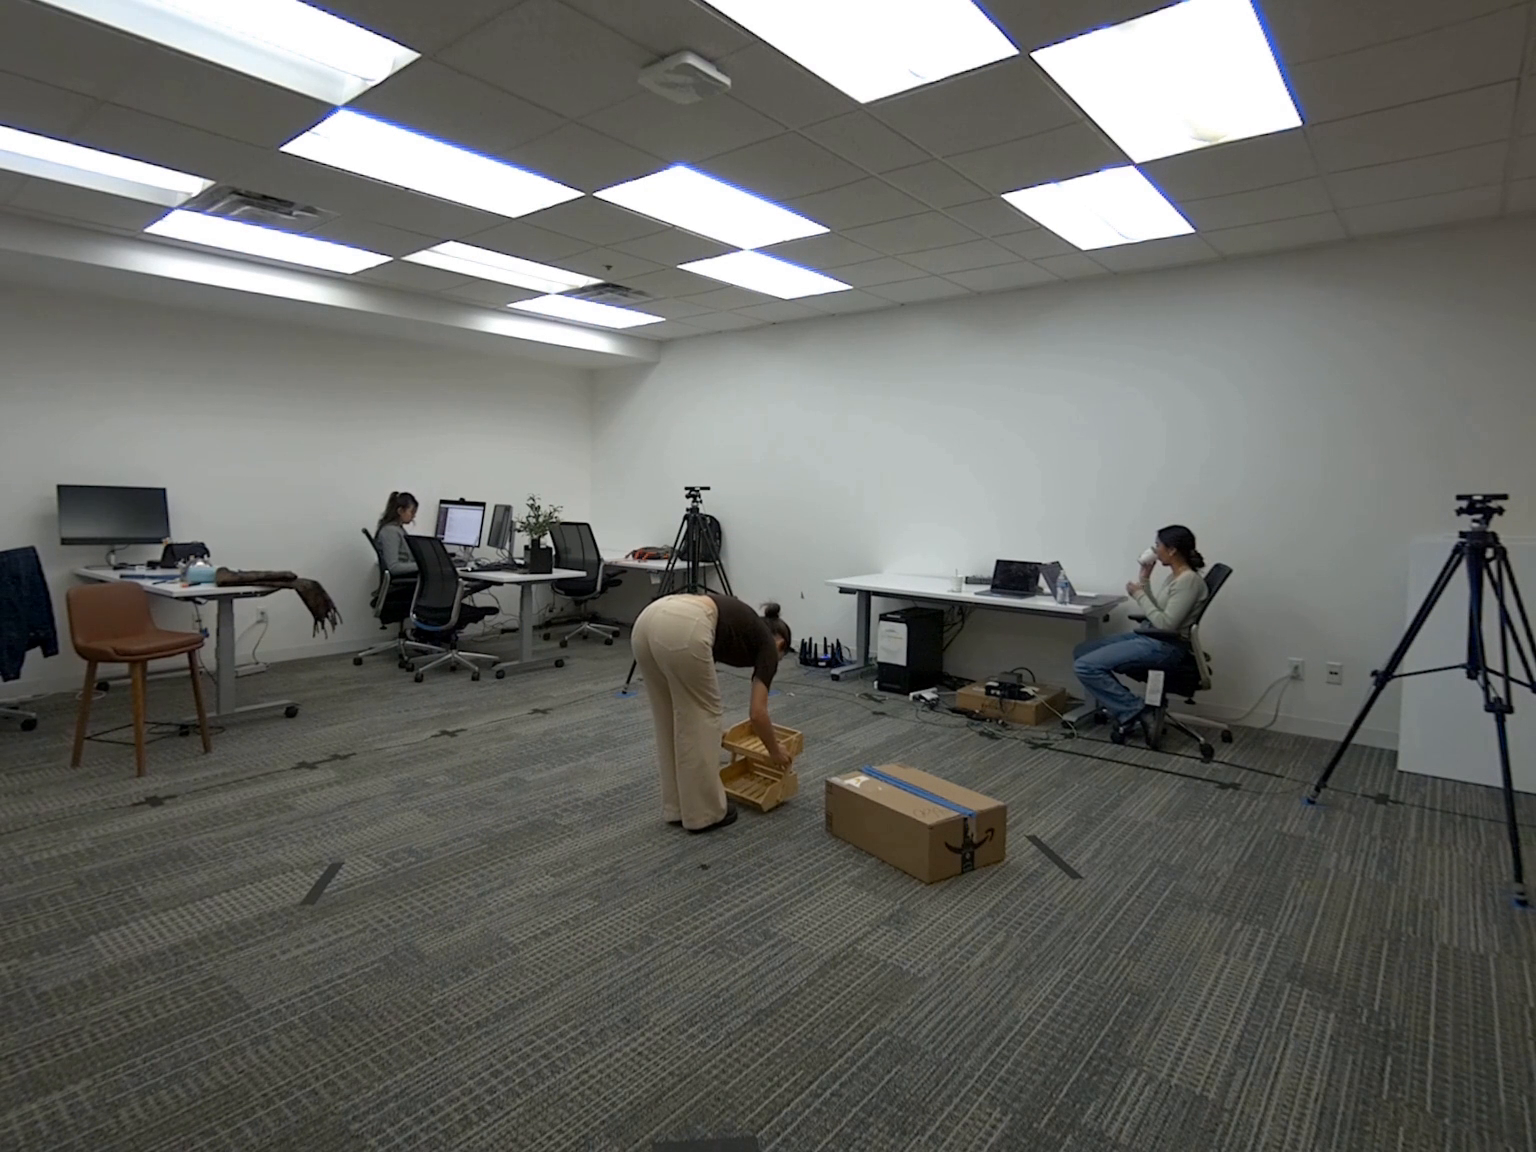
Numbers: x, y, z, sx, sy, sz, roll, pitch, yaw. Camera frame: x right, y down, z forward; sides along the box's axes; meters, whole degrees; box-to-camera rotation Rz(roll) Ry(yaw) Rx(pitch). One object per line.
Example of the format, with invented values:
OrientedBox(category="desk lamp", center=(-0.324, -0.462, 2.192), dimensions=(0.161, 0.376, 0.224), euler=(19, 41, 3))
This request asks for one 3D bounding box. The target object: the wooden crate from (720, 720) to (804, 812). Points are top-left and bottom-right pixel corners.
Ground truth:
OrientedBox(category="wooden crate", center=(-0.064, 0.816, 3.783), dimensions=(0.336, 0.271, 0.295), euler=(6, 14, 41))
